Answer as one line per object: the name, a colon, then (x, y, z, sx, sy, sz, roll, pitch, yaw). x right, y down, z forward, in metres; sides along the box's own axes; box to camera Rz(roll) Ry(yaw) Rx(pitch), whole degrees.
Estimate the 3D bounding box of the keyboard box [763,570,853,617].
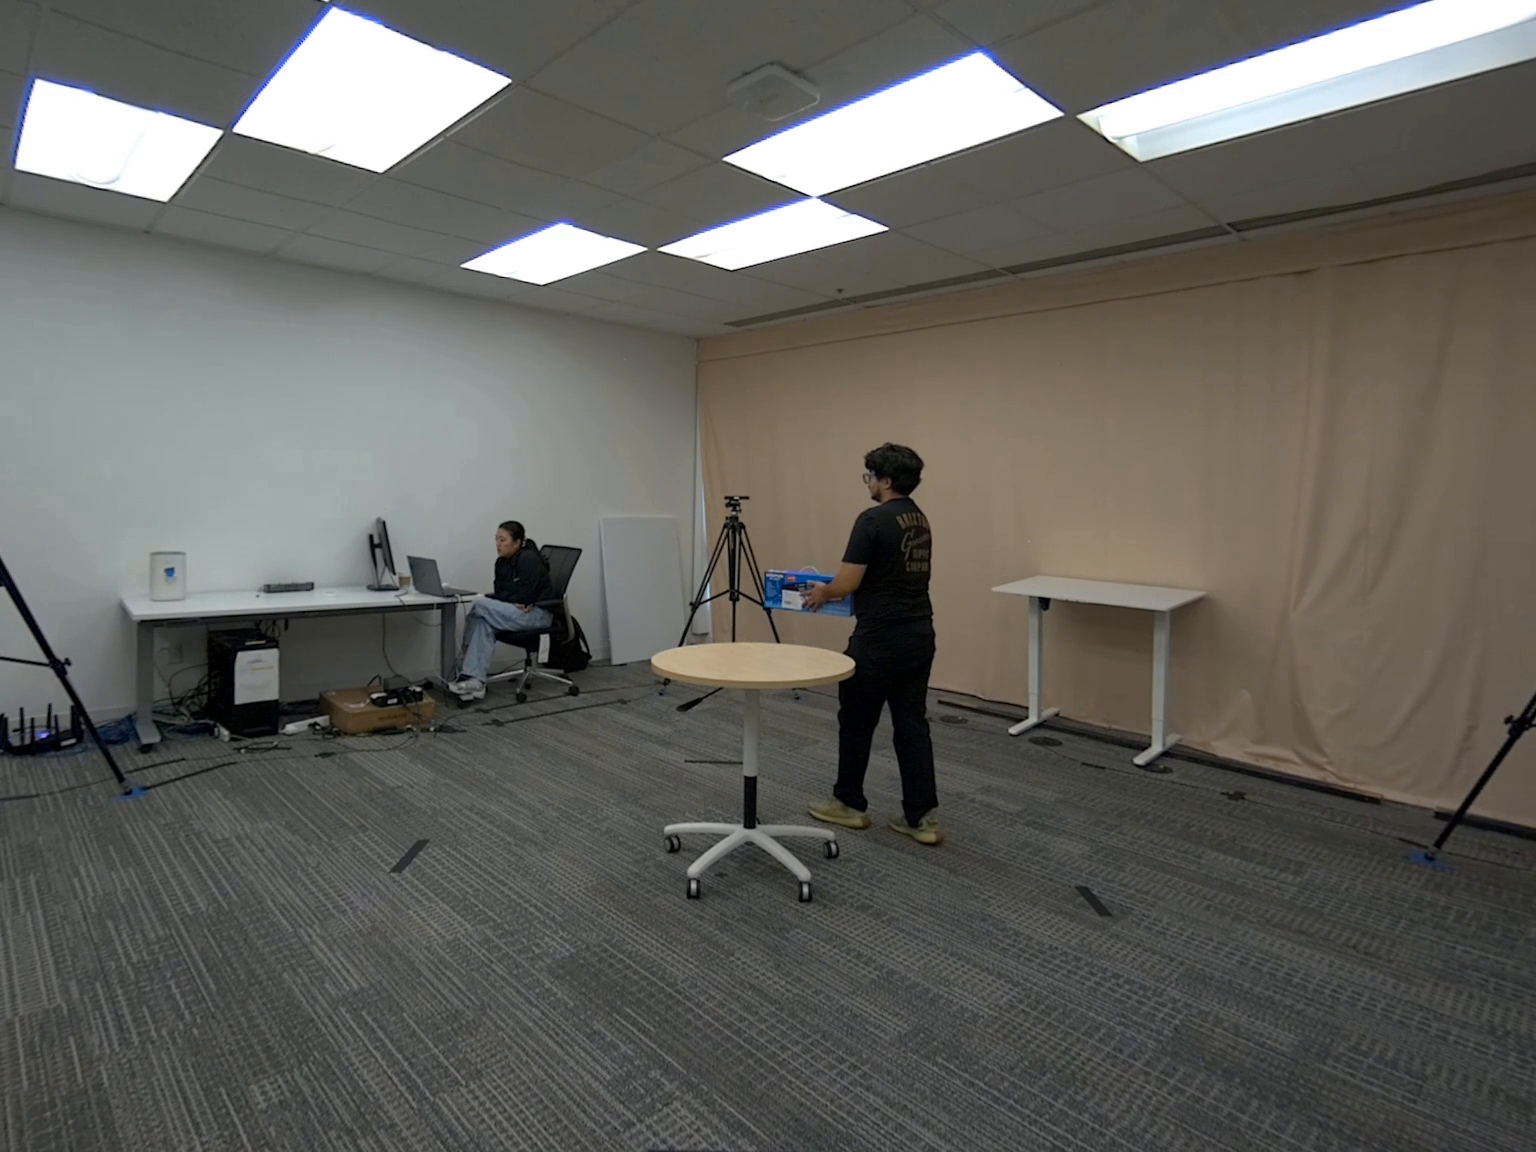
keyboard box: (0.178, 0.075, 3.819, 0.446, 0.175, 0.058, 5, 9, 29)
